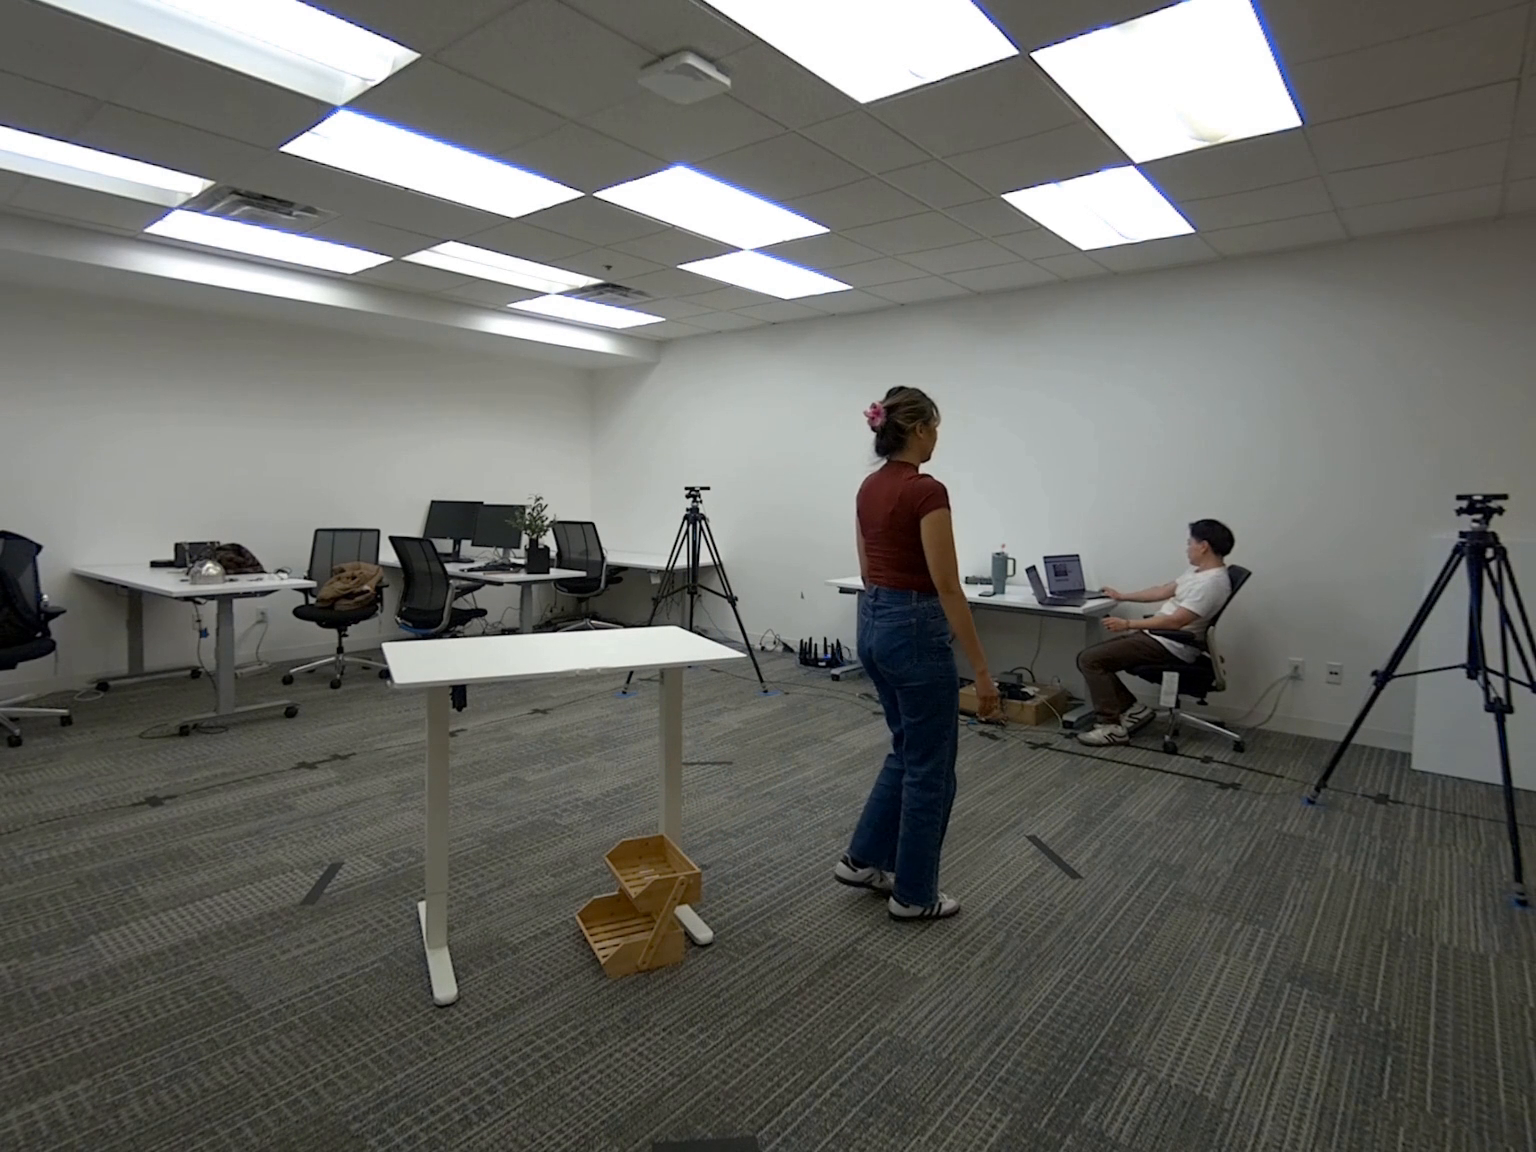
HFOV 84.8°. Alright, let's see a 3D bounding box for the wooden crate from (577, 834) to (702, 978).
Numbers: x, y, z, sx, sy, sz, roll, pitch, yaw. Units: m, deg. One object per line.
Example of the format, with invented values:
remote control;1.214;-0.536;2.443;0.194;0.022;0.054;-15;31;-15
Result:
wooden crate;-0.412;0.981;2.581;0.295;0.272;0.333;-1;5;-27
